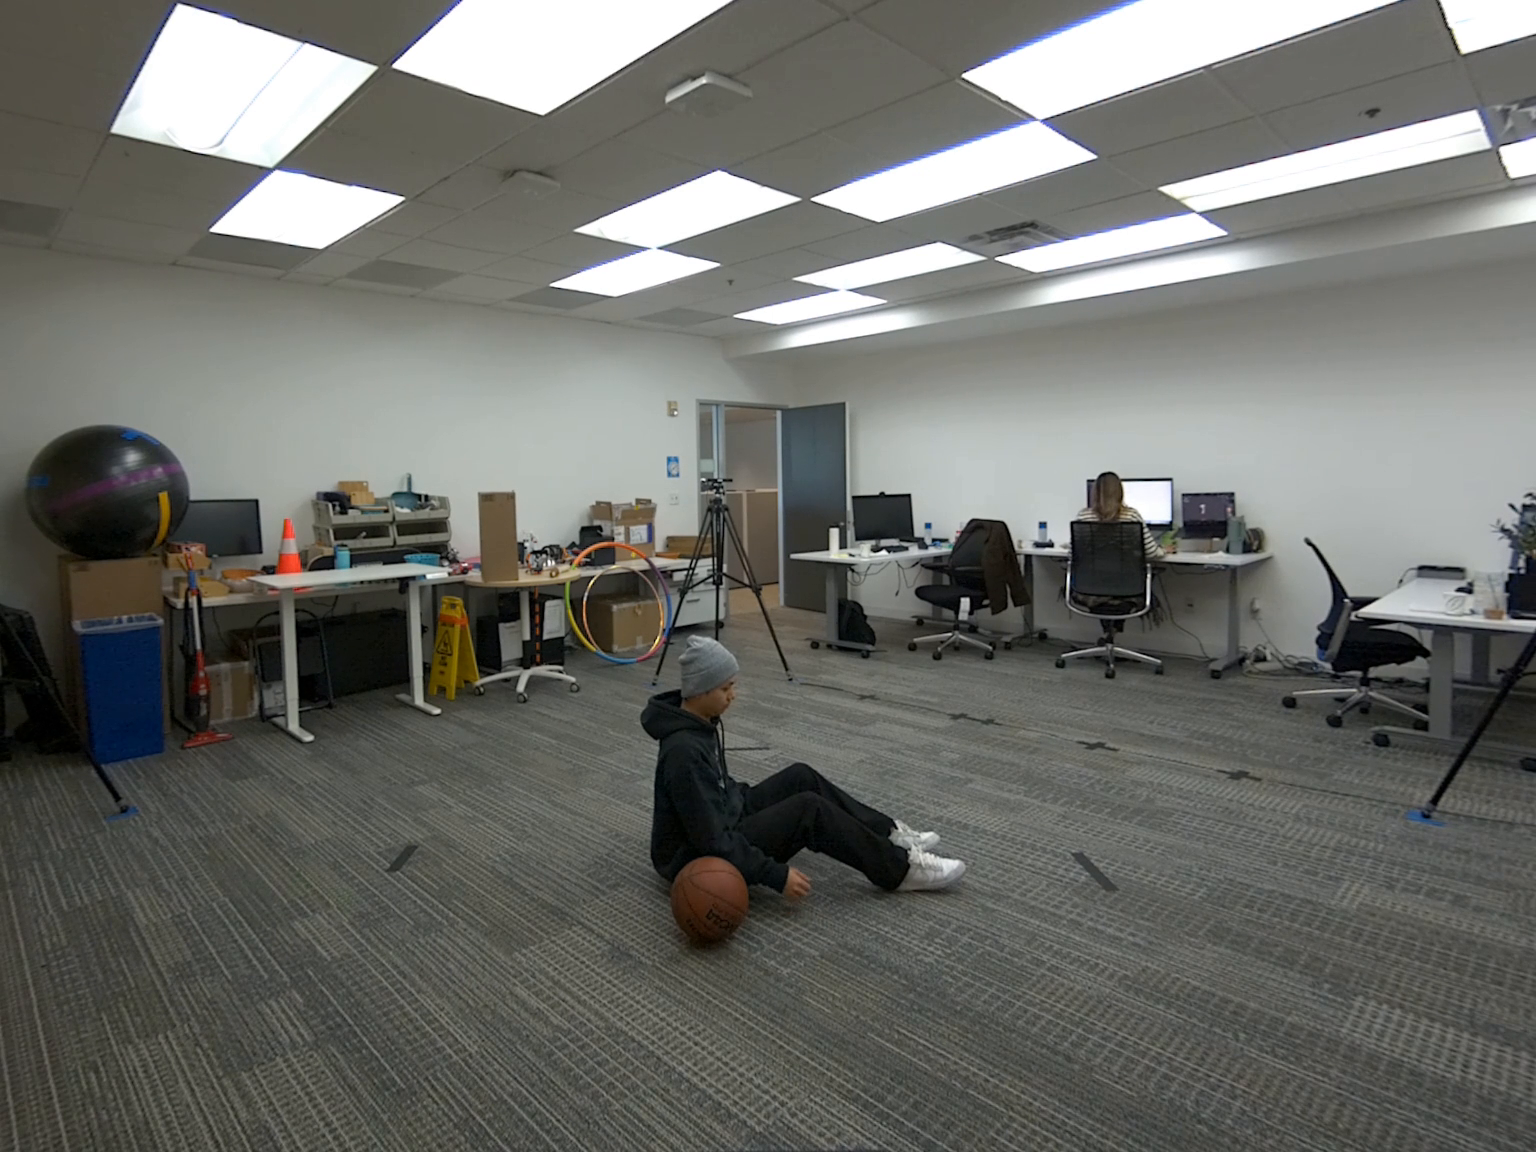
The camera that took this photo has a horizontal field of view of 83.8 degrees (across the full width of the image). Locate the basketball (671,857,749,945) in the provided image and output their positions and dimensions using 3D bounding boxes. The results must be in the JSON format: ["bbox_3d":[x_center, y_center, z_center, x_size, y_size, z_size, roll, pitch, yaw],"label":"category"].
[{"bbox_3d":[-0.185,0.983,2.615,0.236,0.235,0.237,-1,5,-2],"label":"basketball"}]
